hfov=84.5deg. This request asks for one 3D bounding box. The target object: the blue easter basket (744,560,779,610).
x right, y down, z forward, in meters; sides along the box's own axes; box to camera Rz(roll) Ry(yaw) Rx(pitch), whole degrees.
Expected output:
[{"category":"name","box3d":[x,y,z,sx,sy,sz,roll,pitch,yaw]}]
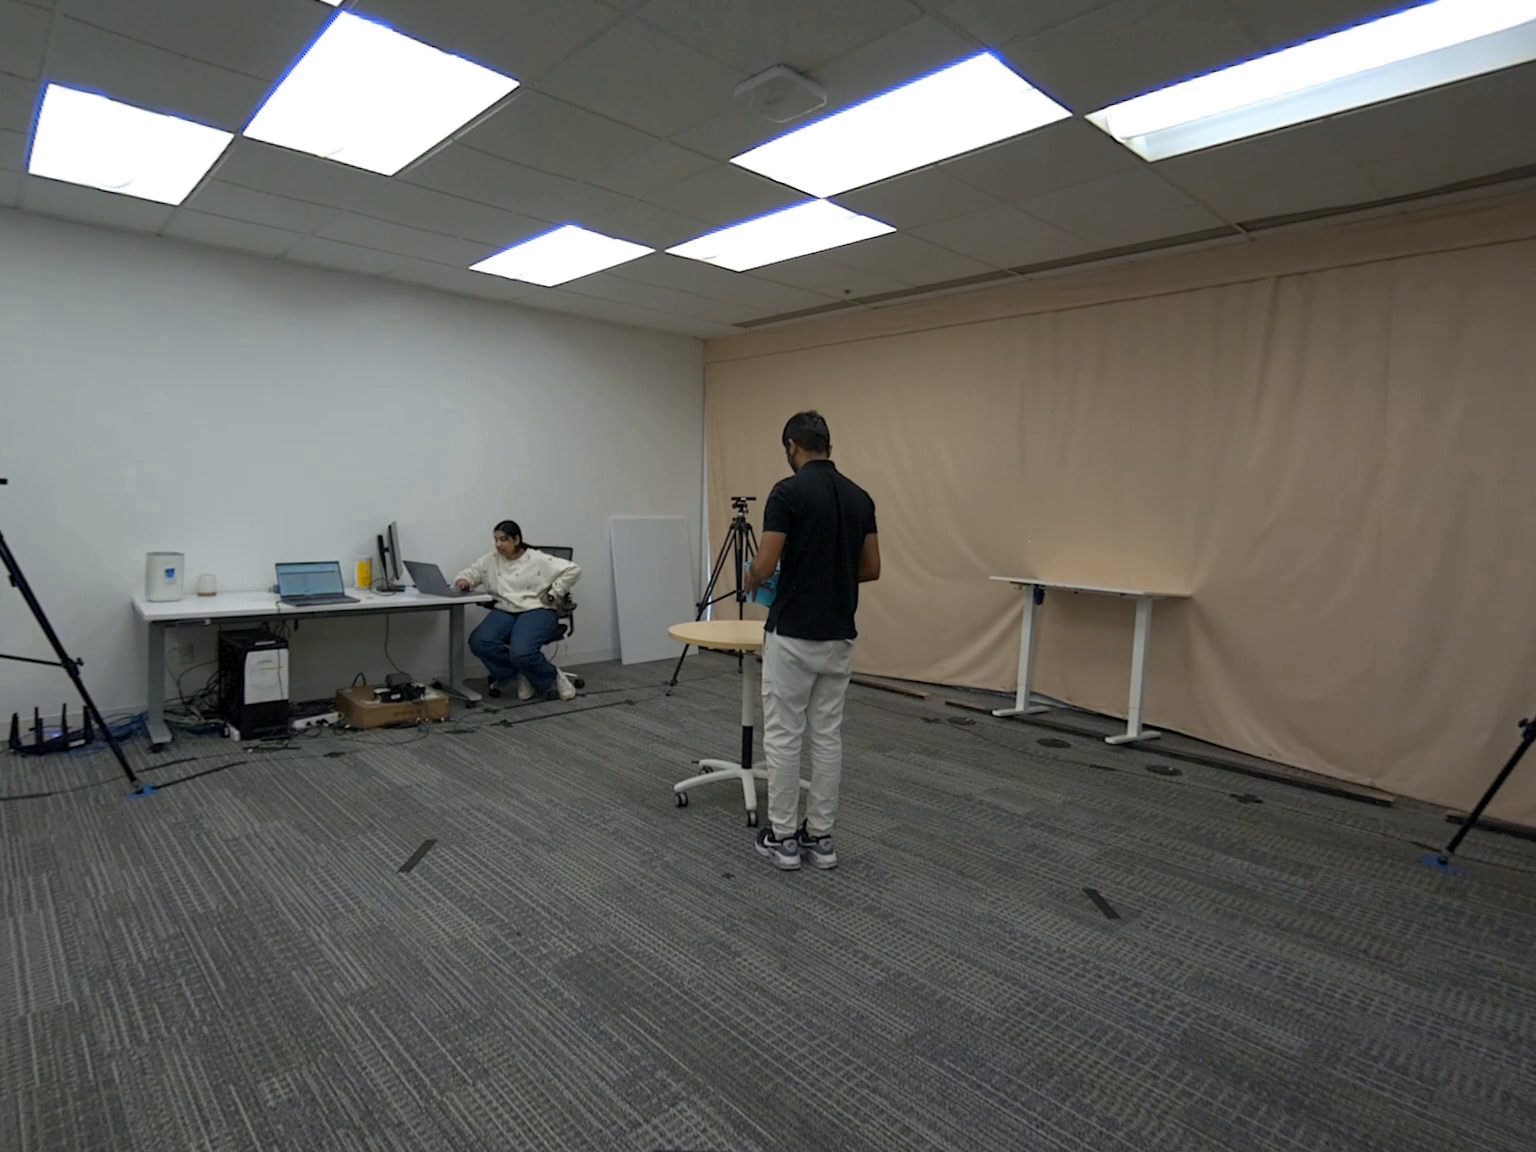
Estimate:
[{"category":"blue easter basket","box3d":[0.032,0.040,3.478,0.243,0.155,0.245,7,6,-2]}]
